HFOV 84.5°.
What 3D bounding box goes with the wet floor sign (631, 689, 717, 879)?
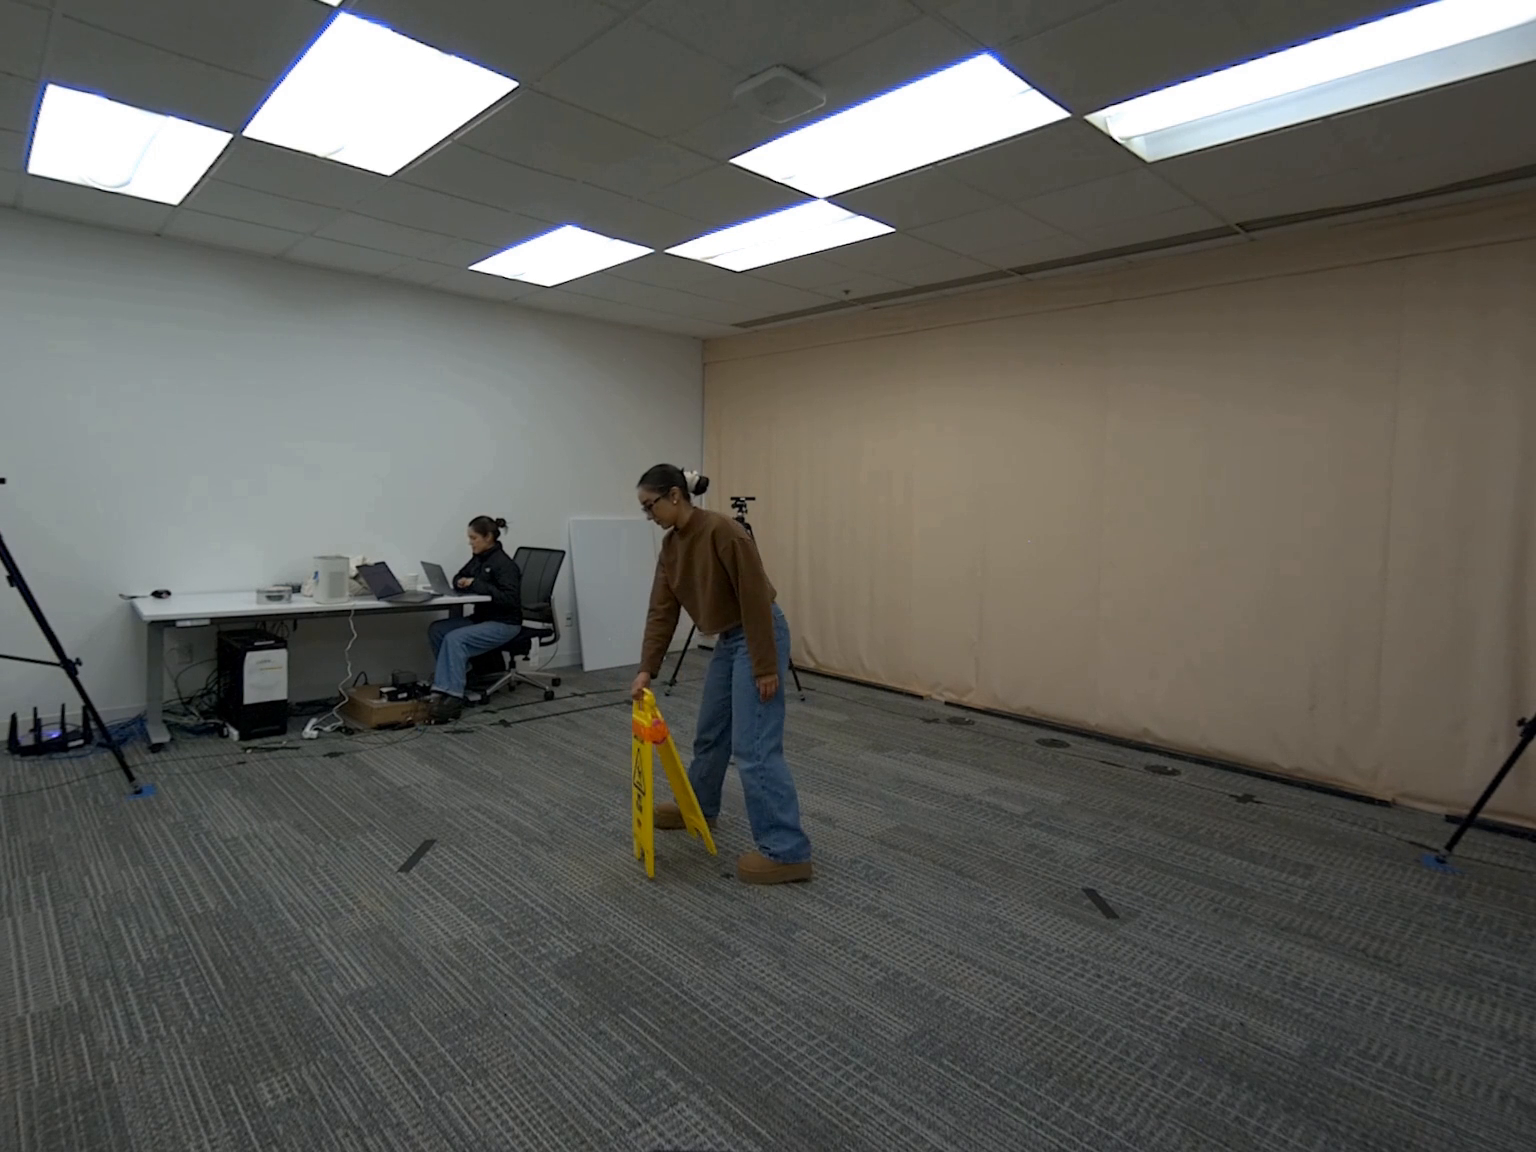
[{"bbox_3d":[-0.418,0.745,3.181,0.286,0.644,0.287,-11,4,-23],"label":"wet floor sign"}]
